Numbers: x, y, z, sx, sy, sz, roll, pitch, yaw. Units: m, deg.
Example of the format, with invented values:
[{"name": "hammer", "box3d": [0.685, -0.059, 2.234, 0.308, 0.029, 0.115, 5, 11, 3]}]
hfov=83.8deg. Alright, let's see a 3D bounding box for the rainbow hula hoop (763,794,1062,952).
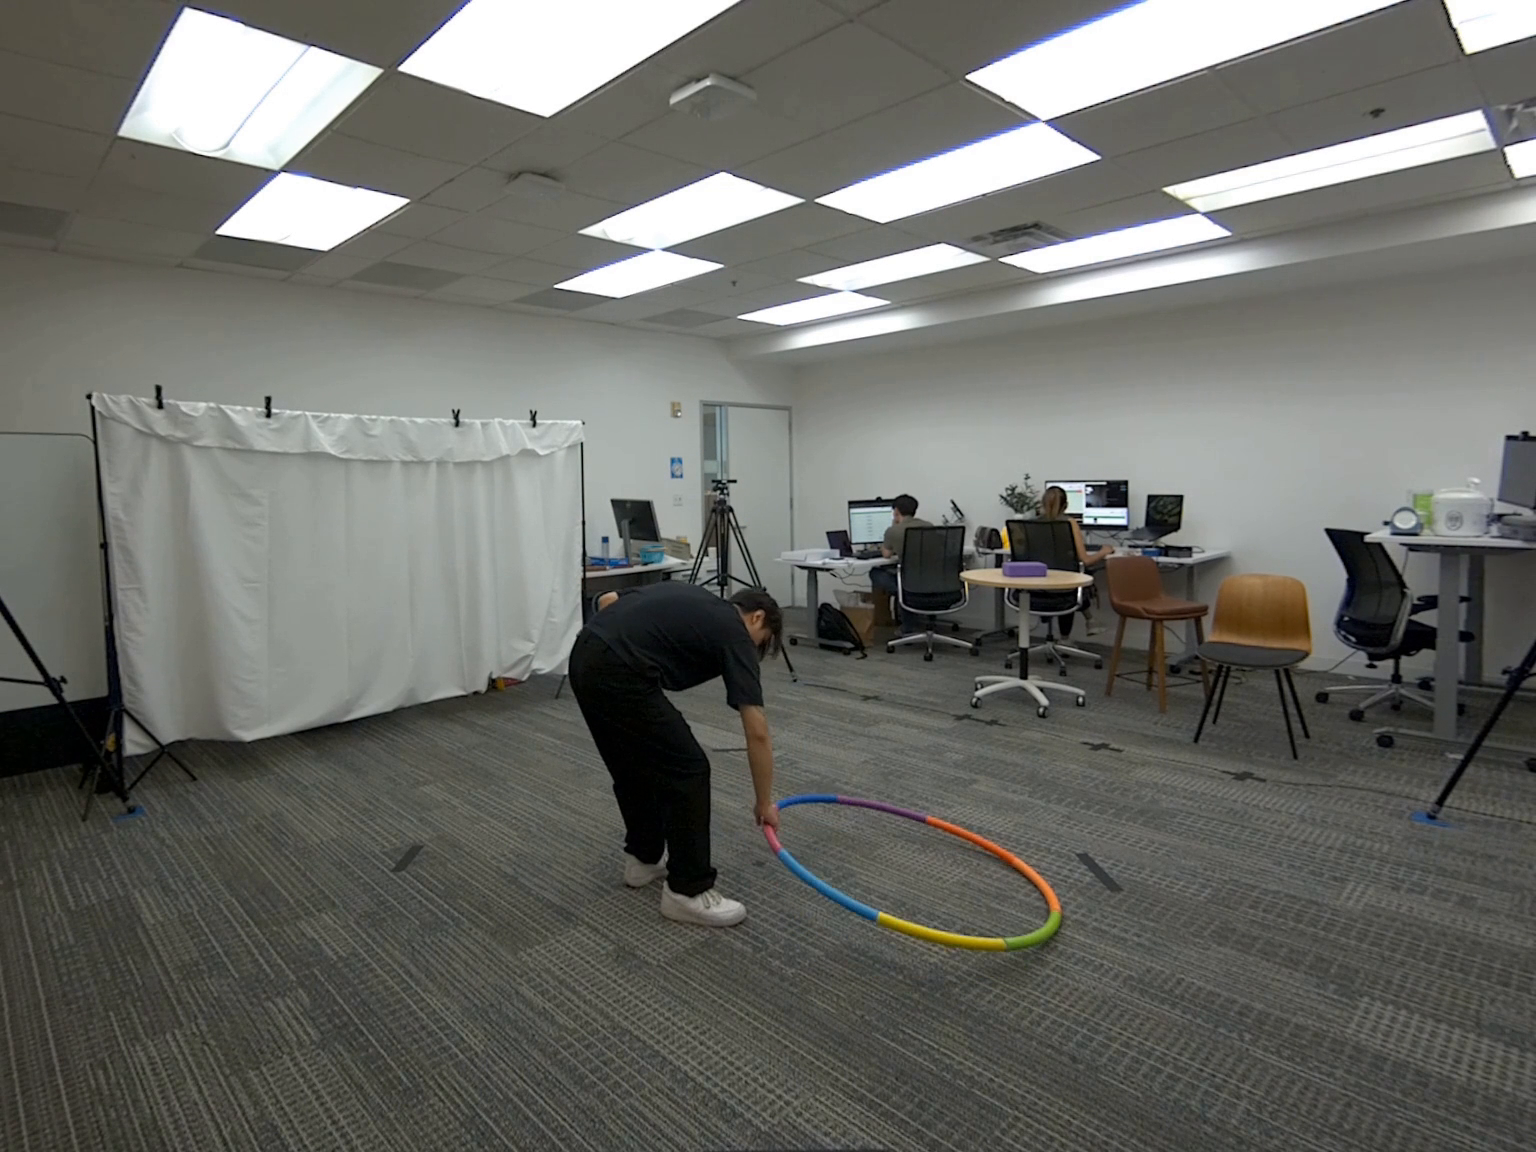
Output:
[{"name": "rainbow hula hoop", "box3d": [0.472, 0.939, 2.845, 0.977, 0.035, 0.984, 12, 5, -3]}]
